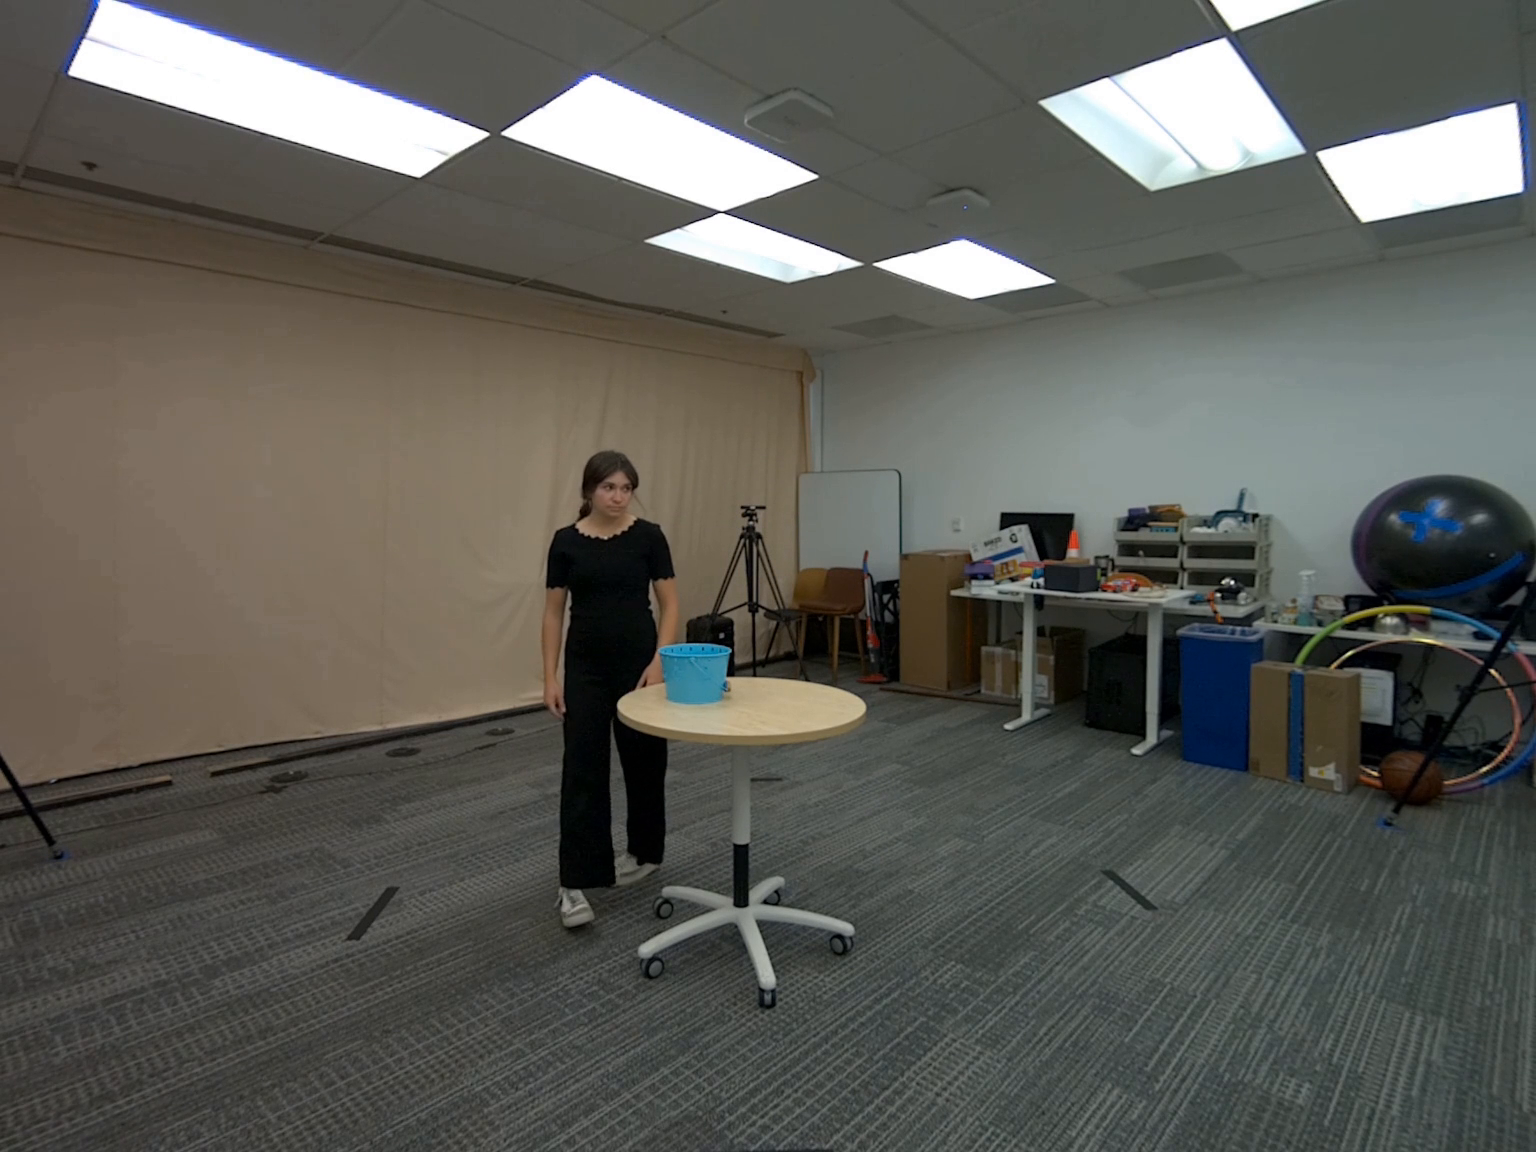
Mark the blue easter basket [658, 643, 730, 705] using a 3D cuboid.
[{"bbox_3d":[-0.225,0.314,2.662,0.243,0.155,0.244,0,3,-2],"label":"blue easter basket"}]
